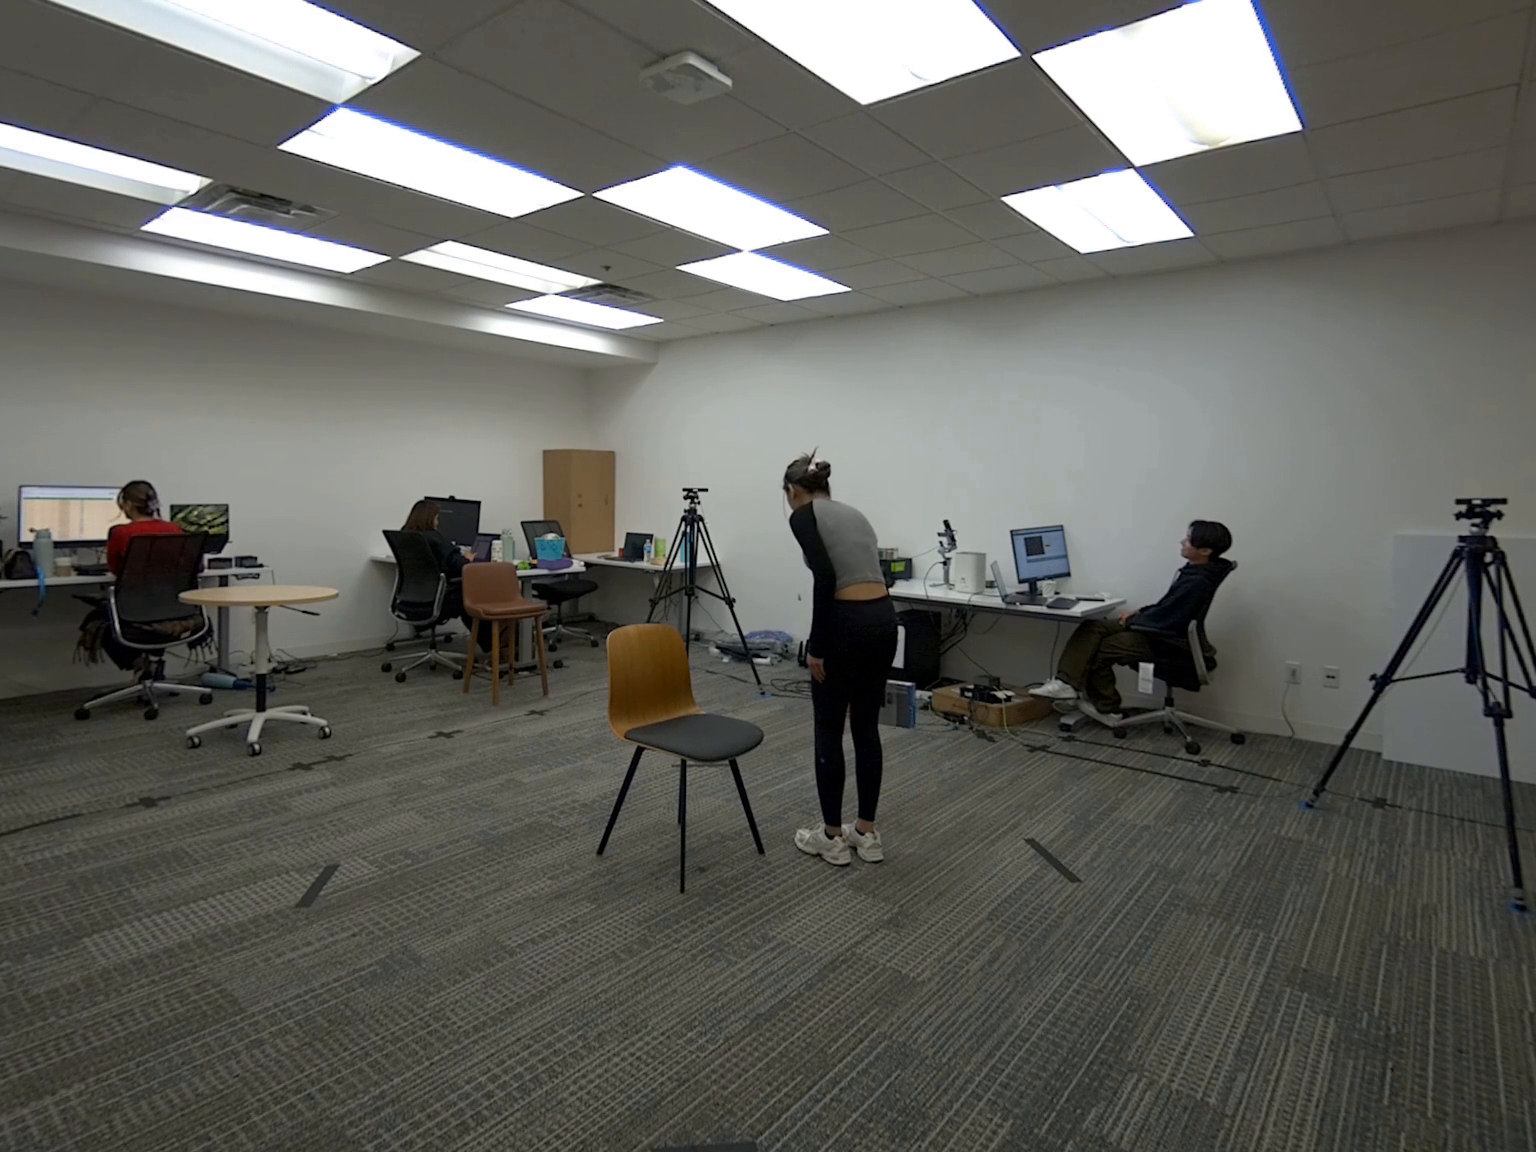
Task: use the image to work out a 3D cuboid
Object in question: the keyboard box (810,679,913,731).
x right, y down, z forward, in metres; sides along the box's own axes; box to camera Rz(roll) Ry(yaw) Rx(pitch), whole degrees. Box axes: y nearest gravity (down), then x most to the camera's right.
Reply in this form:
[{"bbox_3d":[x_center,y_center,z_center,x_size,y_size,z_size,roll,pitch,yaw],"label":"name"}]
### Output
[{"bbox_3d":[0.378,0.507,3.476,0.451,0.176,0.057,3,2,36],"label":"keyboard box"}]
